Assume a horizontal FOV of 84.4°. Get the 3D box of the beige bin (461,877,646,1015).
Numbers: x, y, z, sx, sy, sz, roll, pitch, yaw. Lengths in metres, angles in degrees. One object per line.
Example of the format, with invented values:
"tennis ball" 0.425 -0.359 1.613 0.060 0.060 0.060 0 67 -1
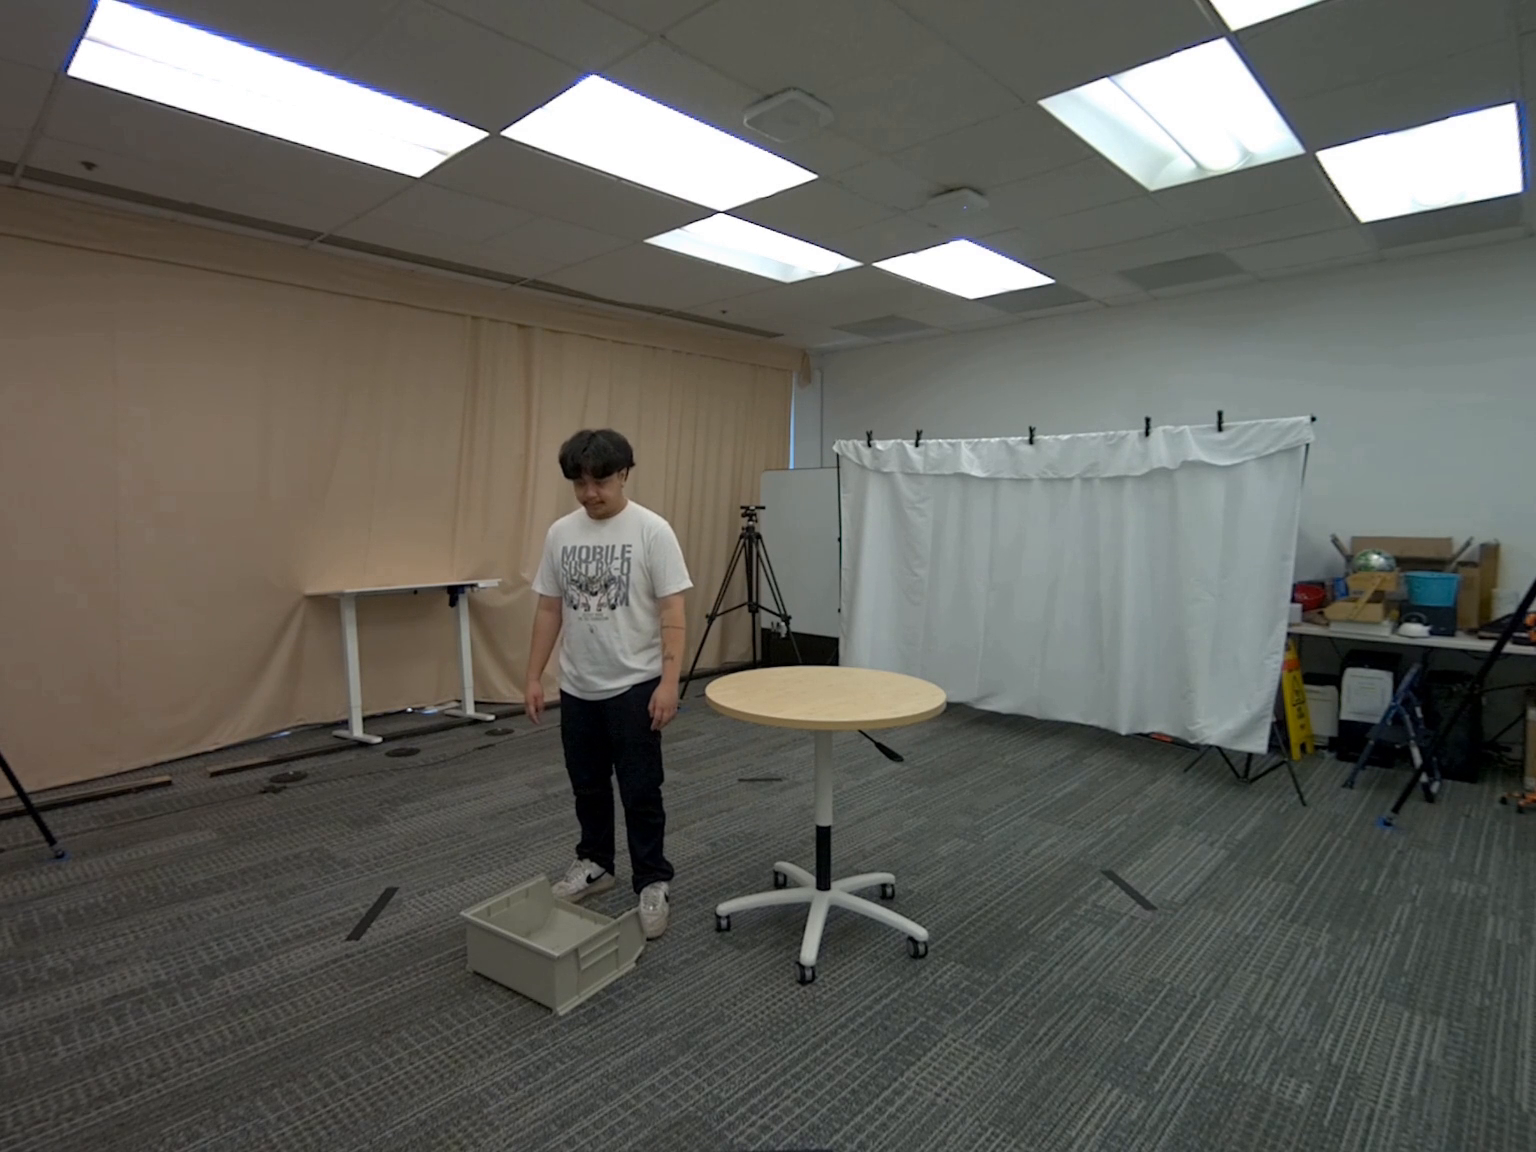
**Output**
"beige bin" -0.644 1.090 2.560 0.435 0.188 0.367 3 6 34
